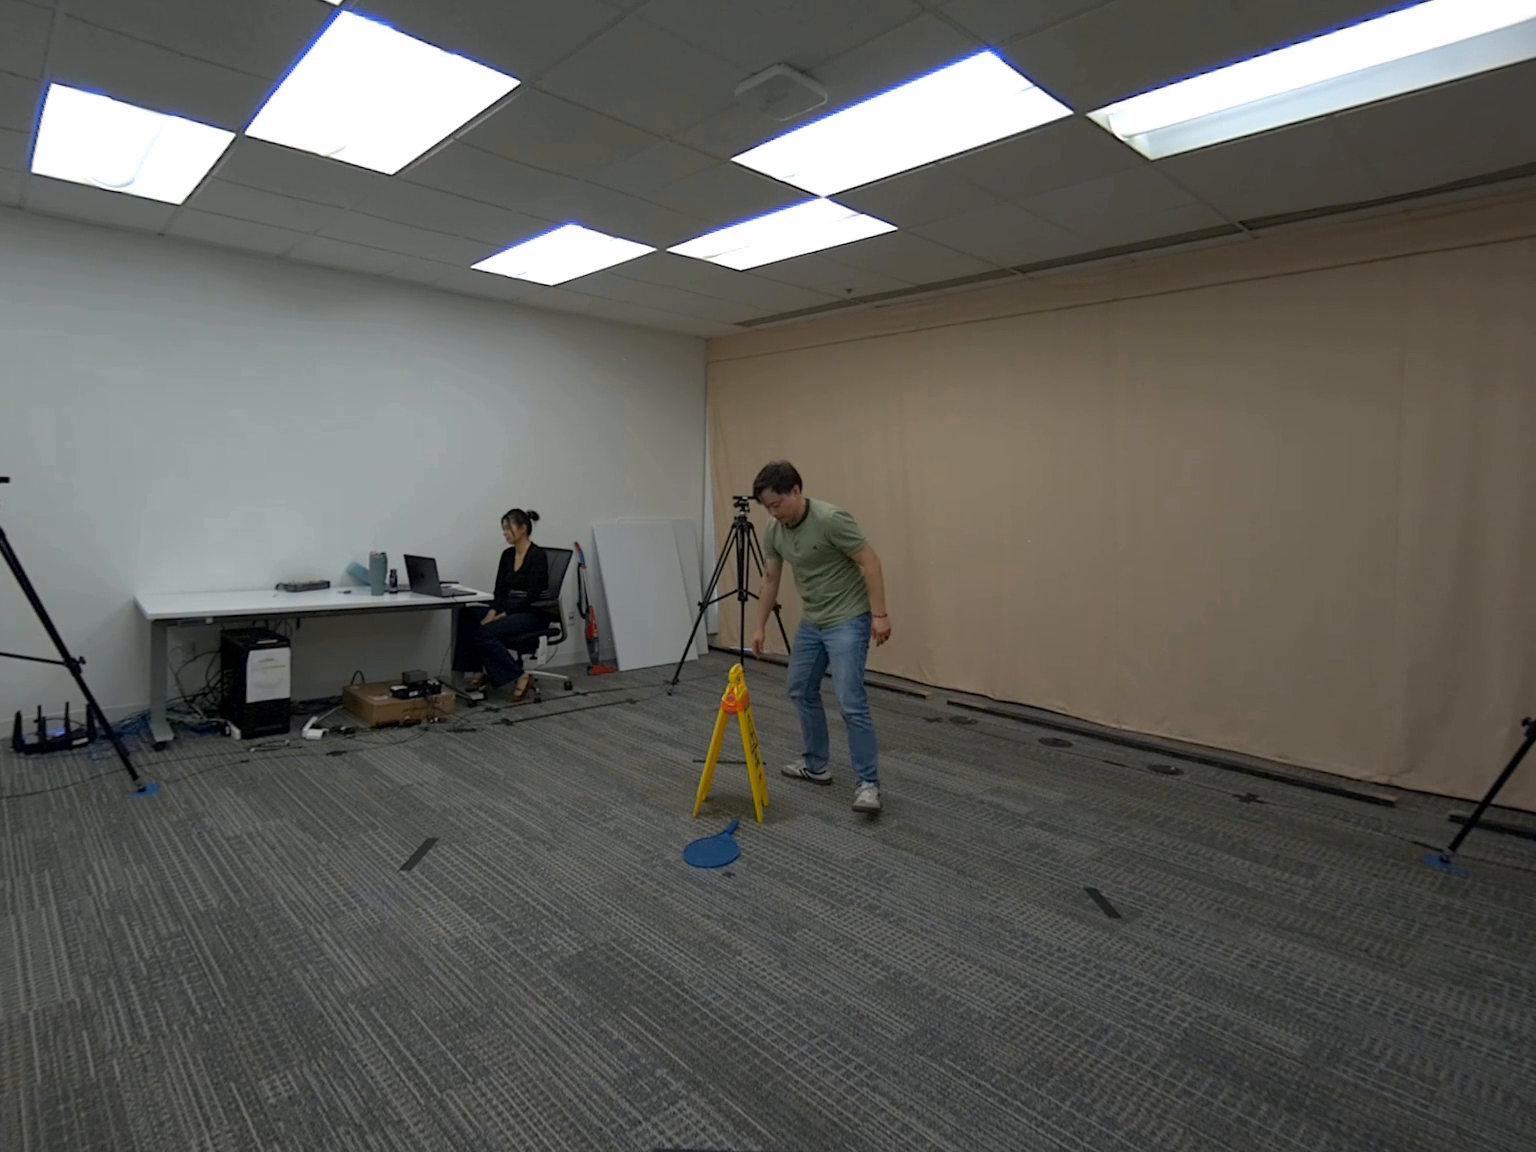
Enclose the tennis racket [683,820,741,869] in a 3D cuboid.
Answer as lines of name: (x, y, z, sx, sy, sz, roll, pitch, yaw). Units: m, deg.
tennis racket: (-0.201, 1.061, 3.355, 0.217, 0.031, 0.428, 3, 7, 17)
